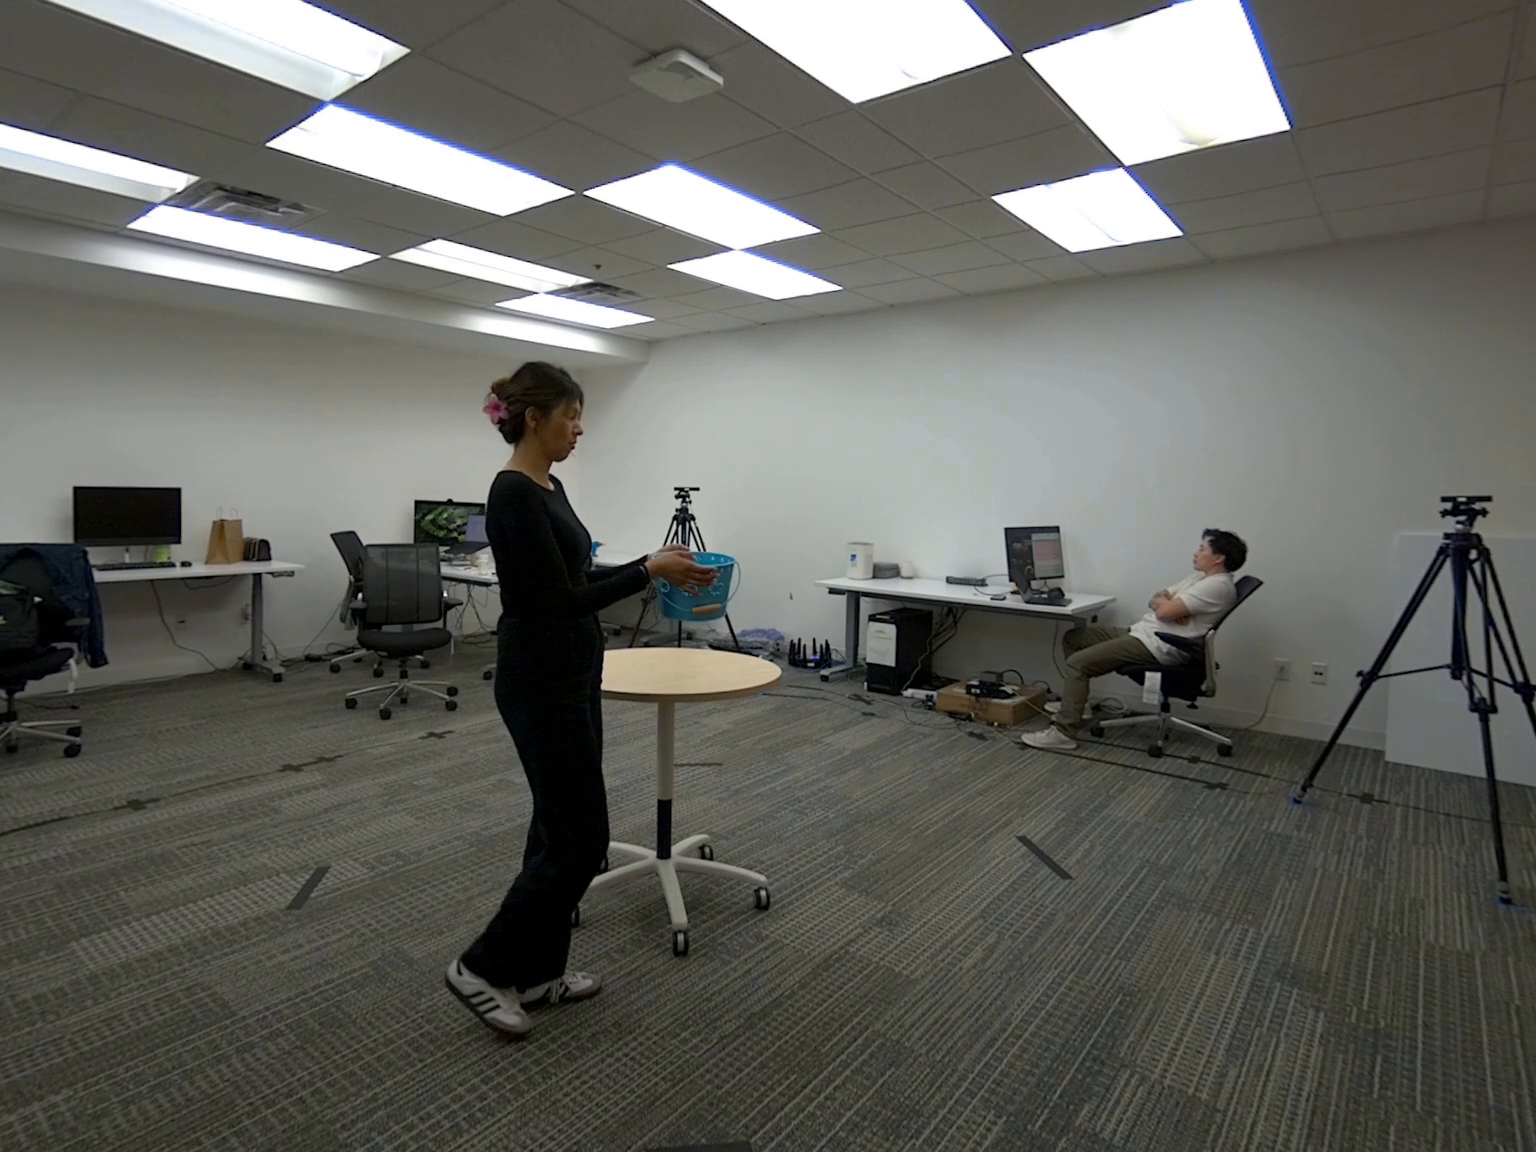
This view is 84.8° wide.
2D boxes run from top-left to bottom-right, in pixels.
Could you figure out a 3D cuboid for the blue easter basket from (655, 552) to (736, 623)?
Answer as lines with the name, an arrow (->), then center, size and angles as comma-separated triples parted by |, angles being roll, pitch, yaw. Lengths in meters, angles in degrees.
blue easter basket -> -0.217, 0.035, 2.272 | 0.243, 0.154, 0.246 | 1, 9, -2
